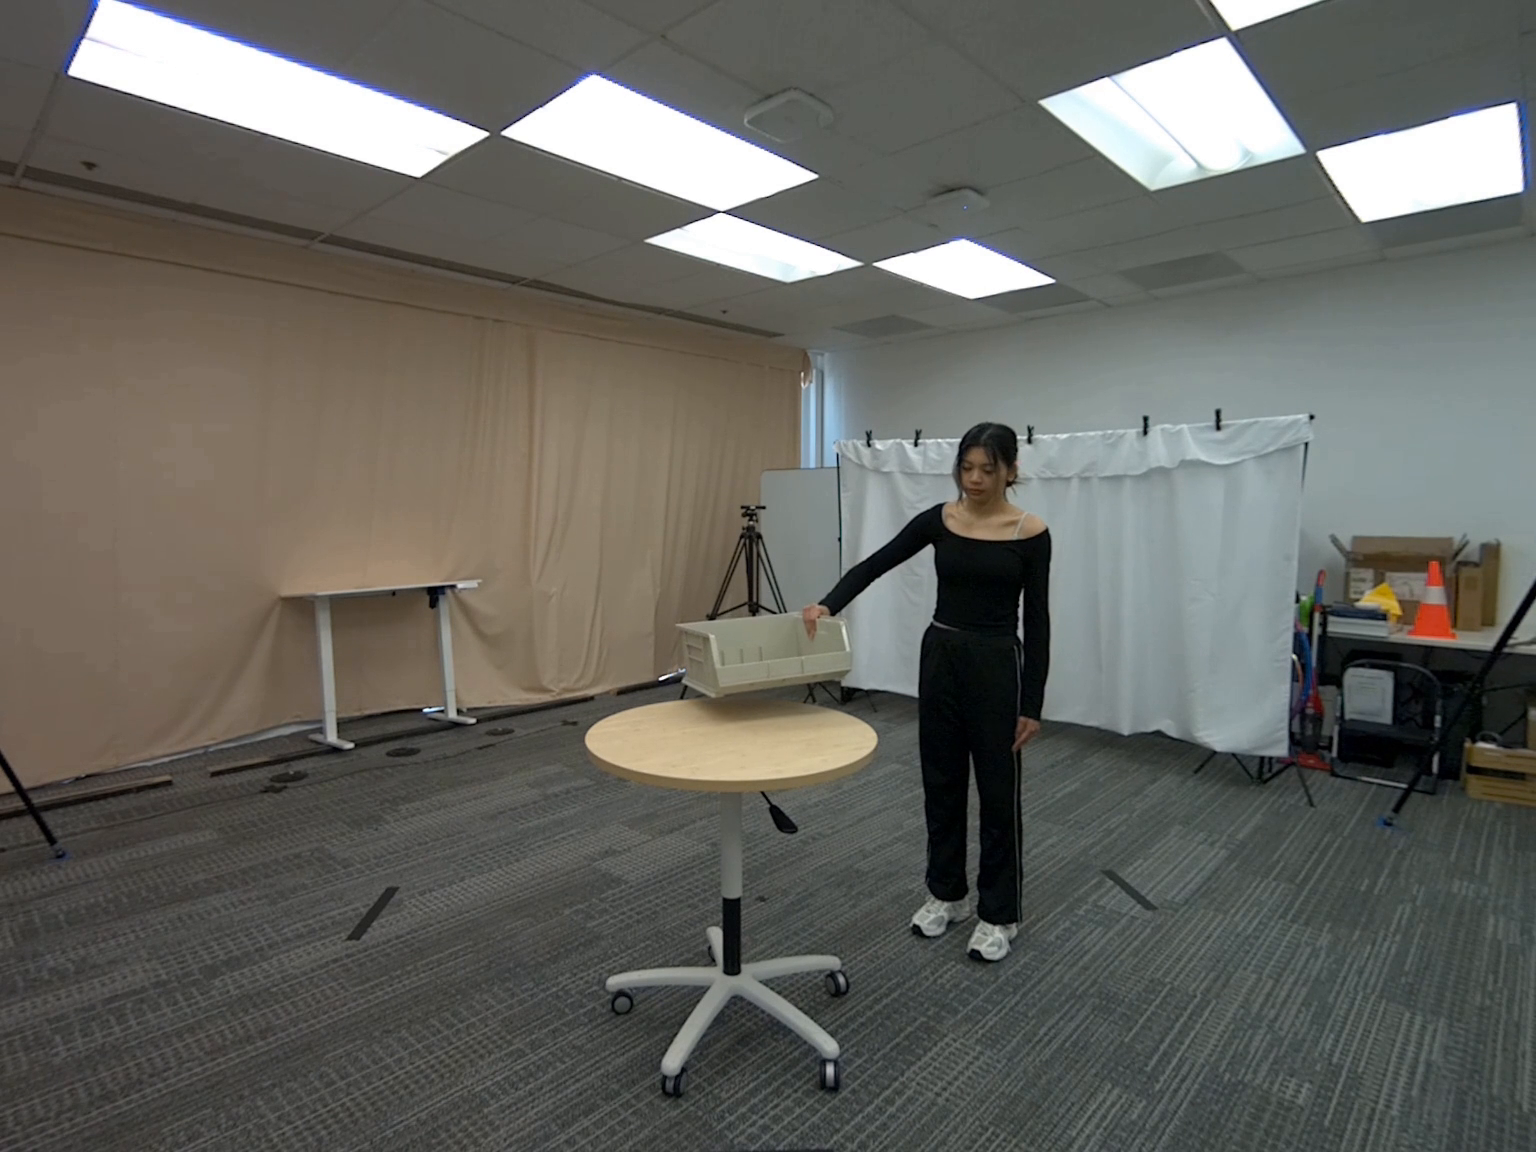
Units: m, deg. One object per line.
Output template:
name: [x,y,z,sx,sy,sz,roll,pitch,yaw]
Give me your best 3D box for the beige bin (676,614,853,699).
beige bin: [-0.018,0.229,2.503,0.415,0.189,0.384,-6,1,-19]
